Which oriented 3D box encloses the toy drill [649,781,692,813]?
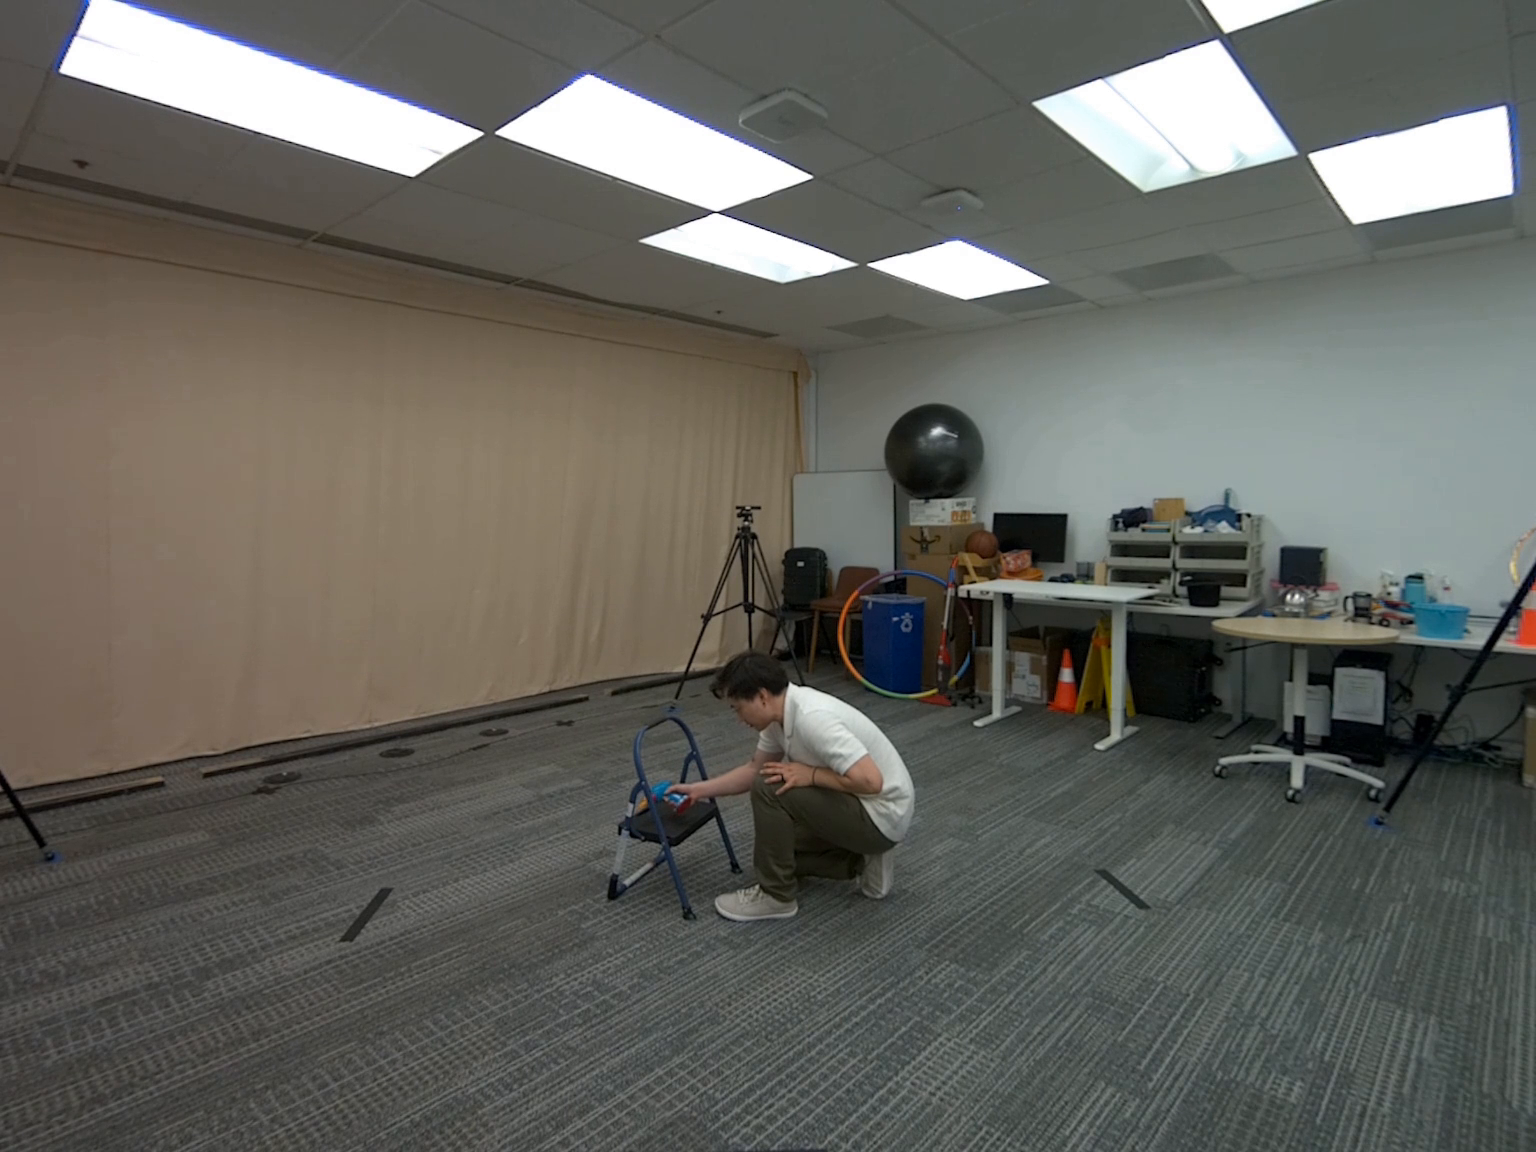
[{"bbox_3d":[-0.376,0.816,3.016,0.151,0.060,0.166,19,33,35],"label":"toy drill"}]
